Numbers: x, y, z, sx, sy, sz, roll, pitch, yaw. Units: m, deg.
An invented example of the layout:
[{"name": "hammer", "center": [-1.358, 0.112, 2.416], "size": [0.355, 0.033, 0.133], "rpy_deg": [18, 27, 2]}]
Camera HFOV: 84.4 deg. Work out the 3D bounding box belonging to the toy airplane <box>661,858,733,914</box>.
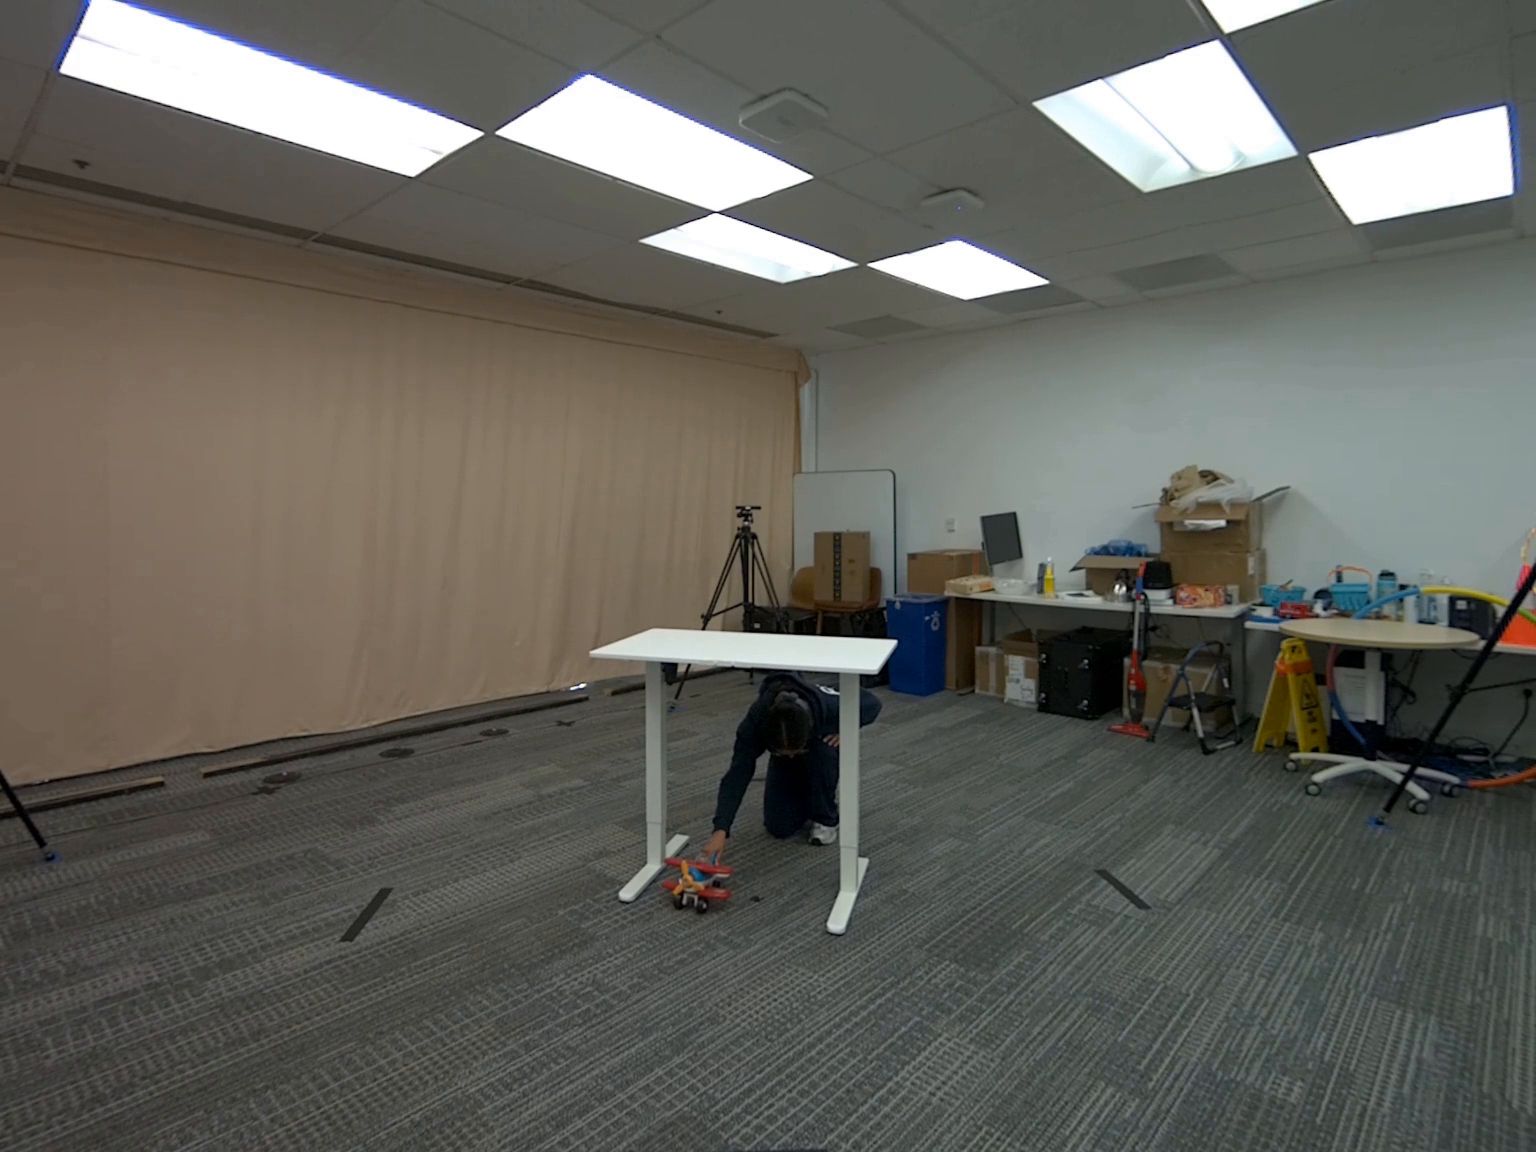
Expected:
[{"name": "toy airplane", "center": [-0.235, 1.074, 2.979], "size": [0.249, 0.156, 0.262], "rpy_deg": [-1, 5, -7]}]
